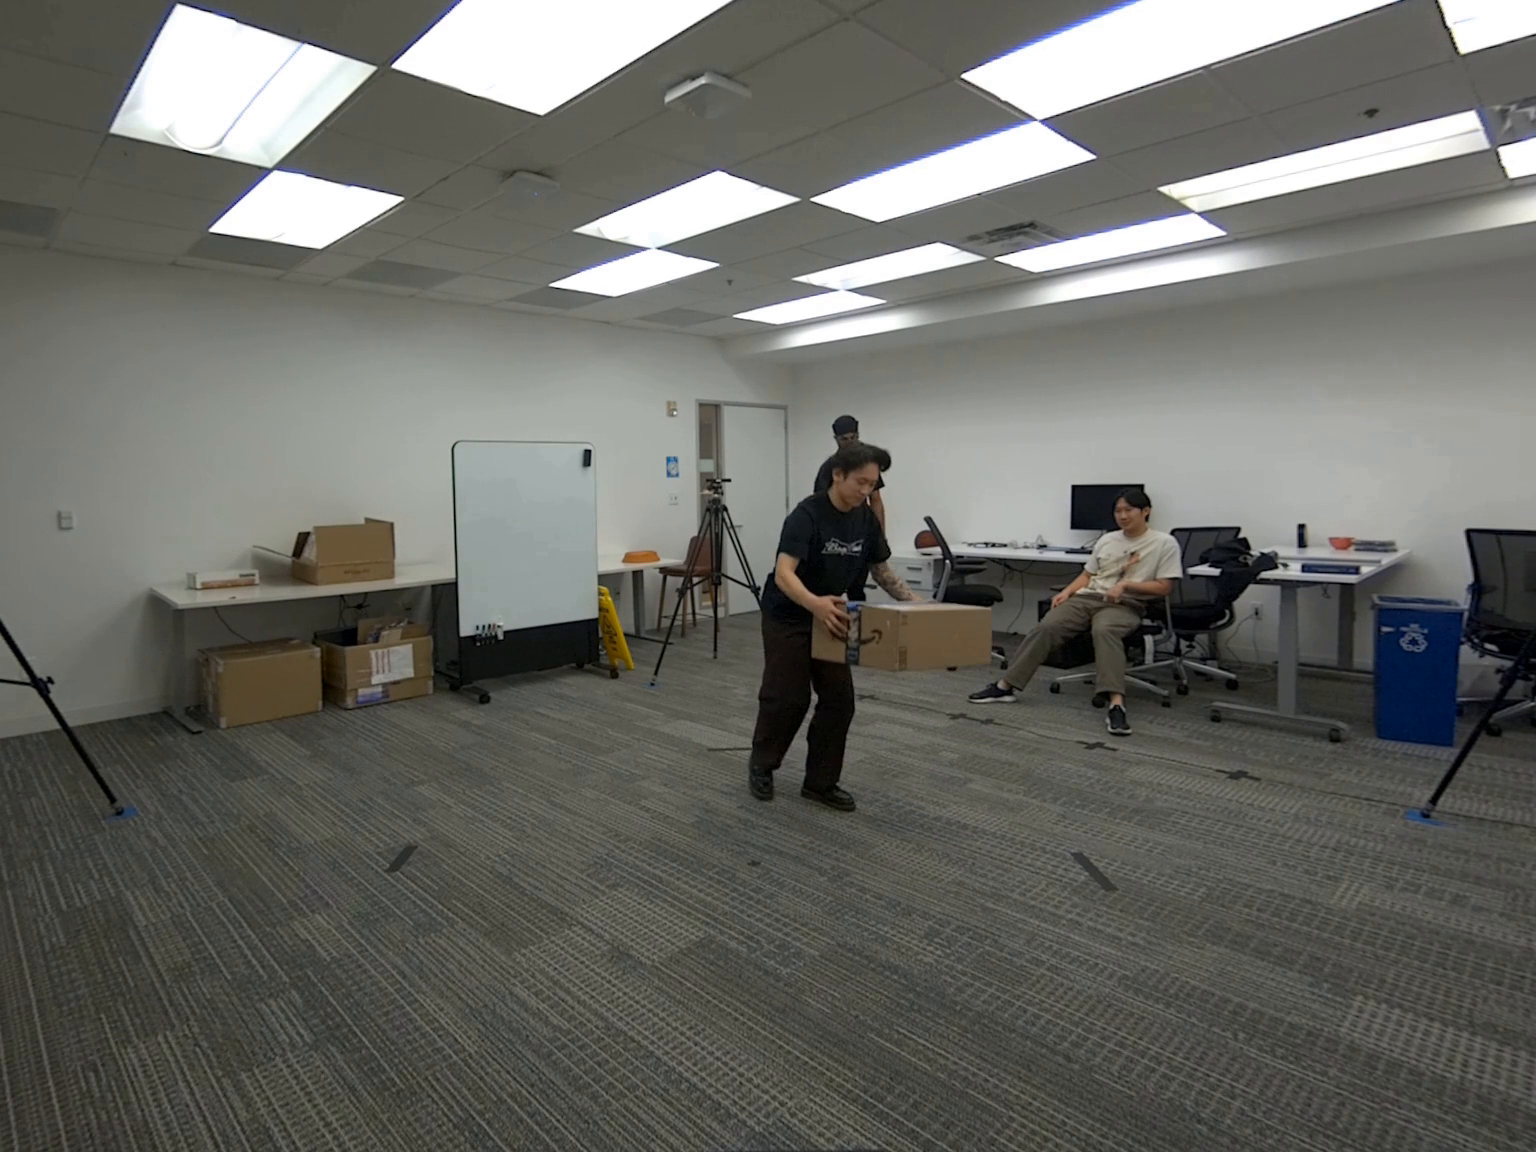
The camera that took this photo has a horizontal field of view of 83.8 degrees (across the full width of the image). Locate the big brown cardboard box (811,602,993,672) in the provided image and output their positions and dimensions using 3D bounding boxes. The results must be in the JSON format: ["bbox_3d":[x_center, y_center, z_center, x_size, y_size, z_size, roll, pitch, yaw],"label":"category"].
[{"bbox_3d":[0.502,0.236,3.265,0.571,0.233,0.430,2,-1,-41],"label":"big brown cardboard box"}]
